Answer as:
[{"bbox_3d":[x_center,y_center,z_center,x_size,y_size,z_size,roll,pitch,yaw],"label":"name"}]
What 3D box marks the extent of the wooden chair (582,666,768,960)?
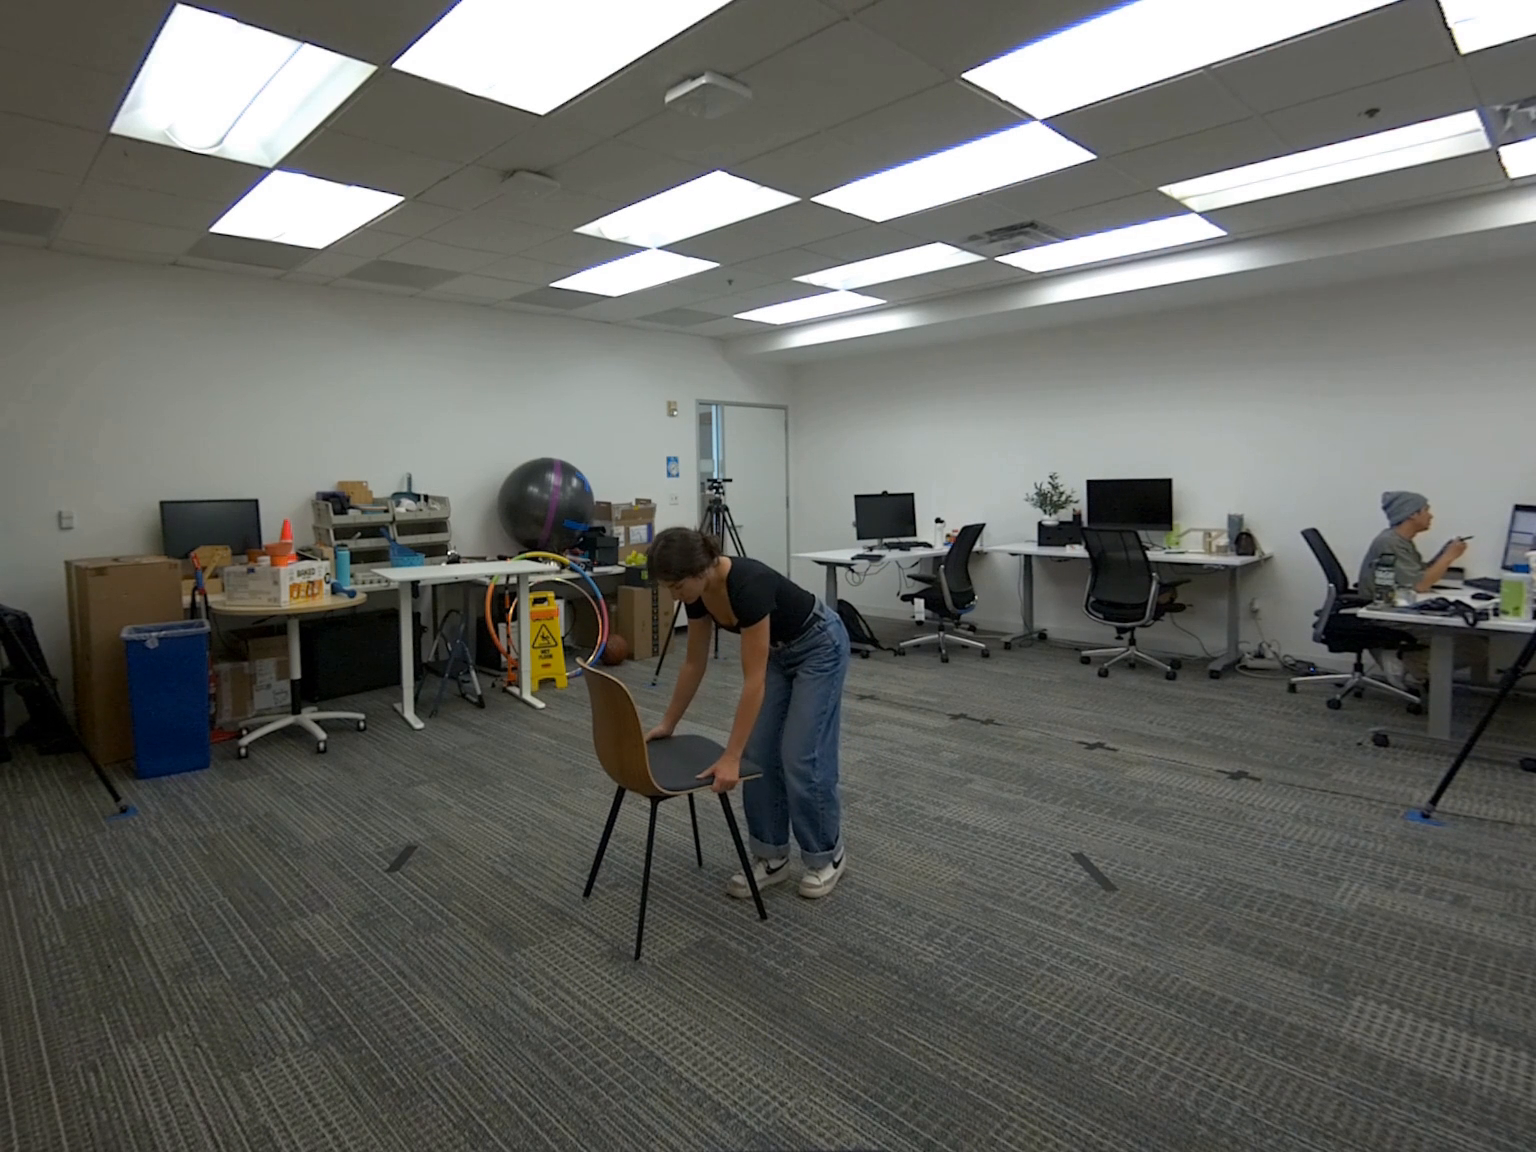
[{"bbox_3d":[-0.306,0.658,2.765,0.512,0.872,0.491,-8,8,-30],"label":"wooden chair"}]
